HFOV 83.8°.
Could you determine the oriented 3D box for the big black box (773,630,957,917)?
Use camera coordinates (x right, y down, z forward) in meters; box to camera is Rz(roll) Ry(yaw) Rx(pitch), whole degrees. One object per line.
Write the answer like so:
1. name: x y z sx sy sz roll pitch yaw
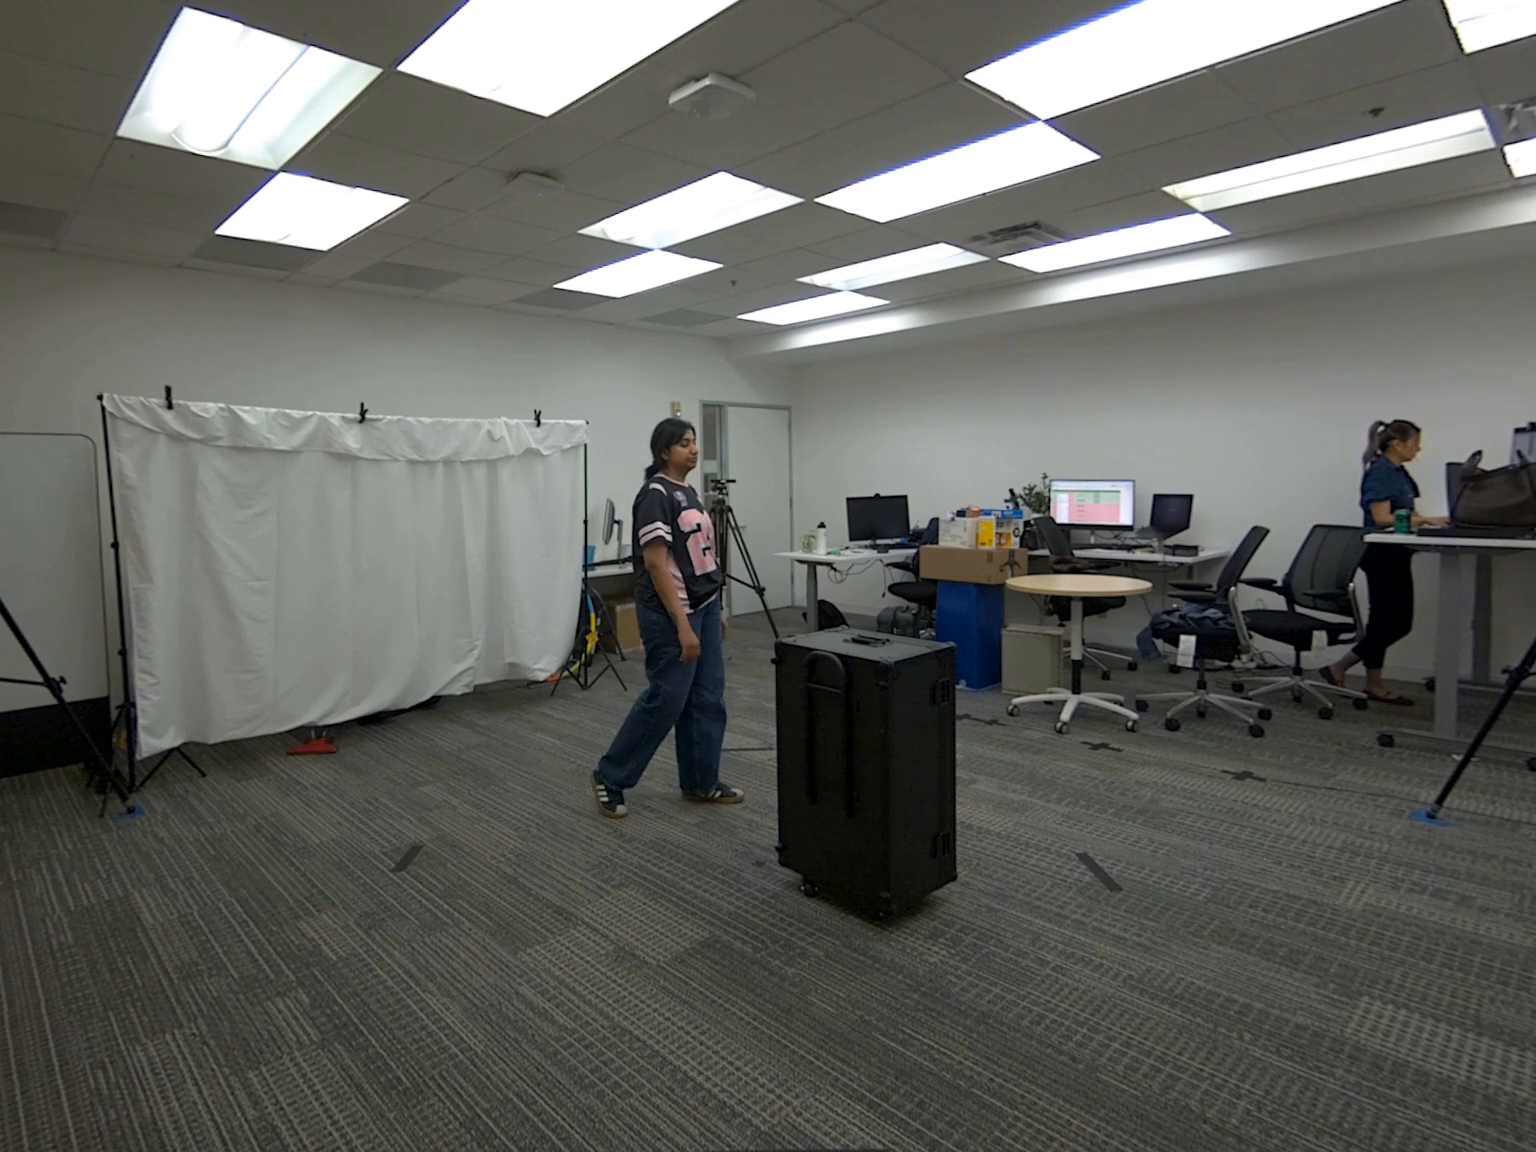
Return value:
1. big black box: 0.331 0.648 2.841 0.375 0.865 0.539 -5 6 -43
